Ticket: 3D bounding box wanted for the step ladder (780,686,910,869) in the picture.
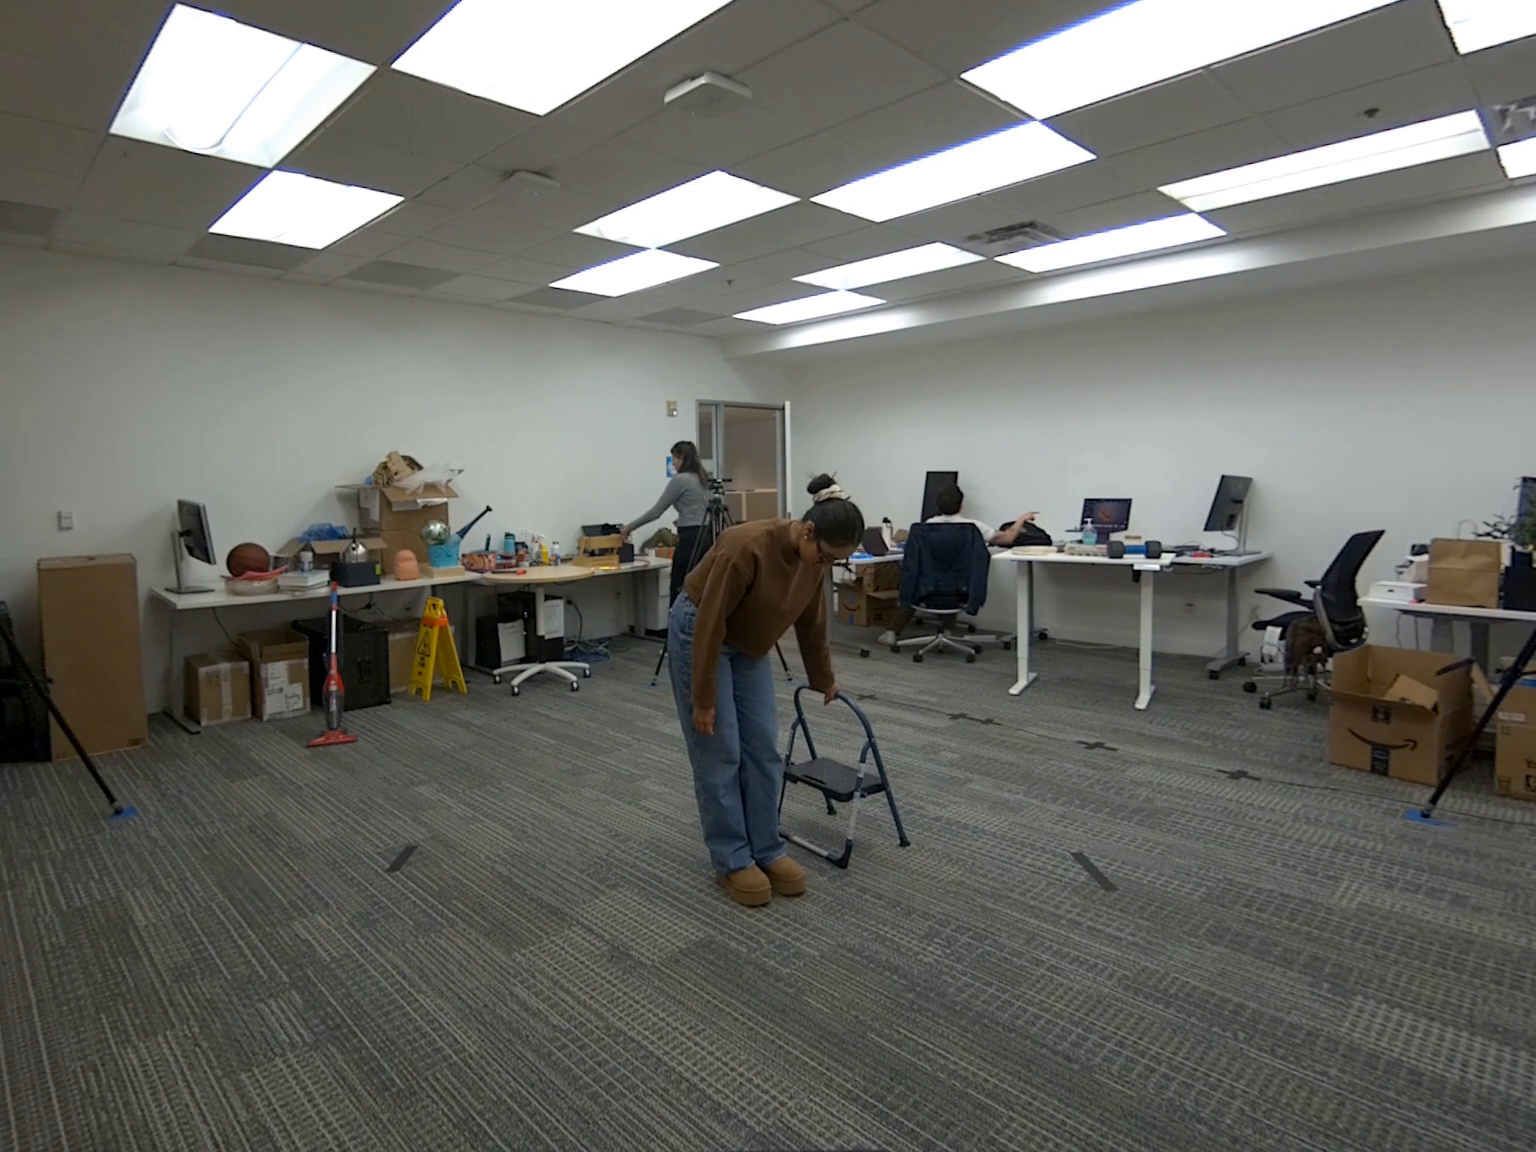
[{"bbox_3d":[0.268,0.714,3.291,0.340,0.604,0.443,-5,6,-38],"label":"step ladder"}]
